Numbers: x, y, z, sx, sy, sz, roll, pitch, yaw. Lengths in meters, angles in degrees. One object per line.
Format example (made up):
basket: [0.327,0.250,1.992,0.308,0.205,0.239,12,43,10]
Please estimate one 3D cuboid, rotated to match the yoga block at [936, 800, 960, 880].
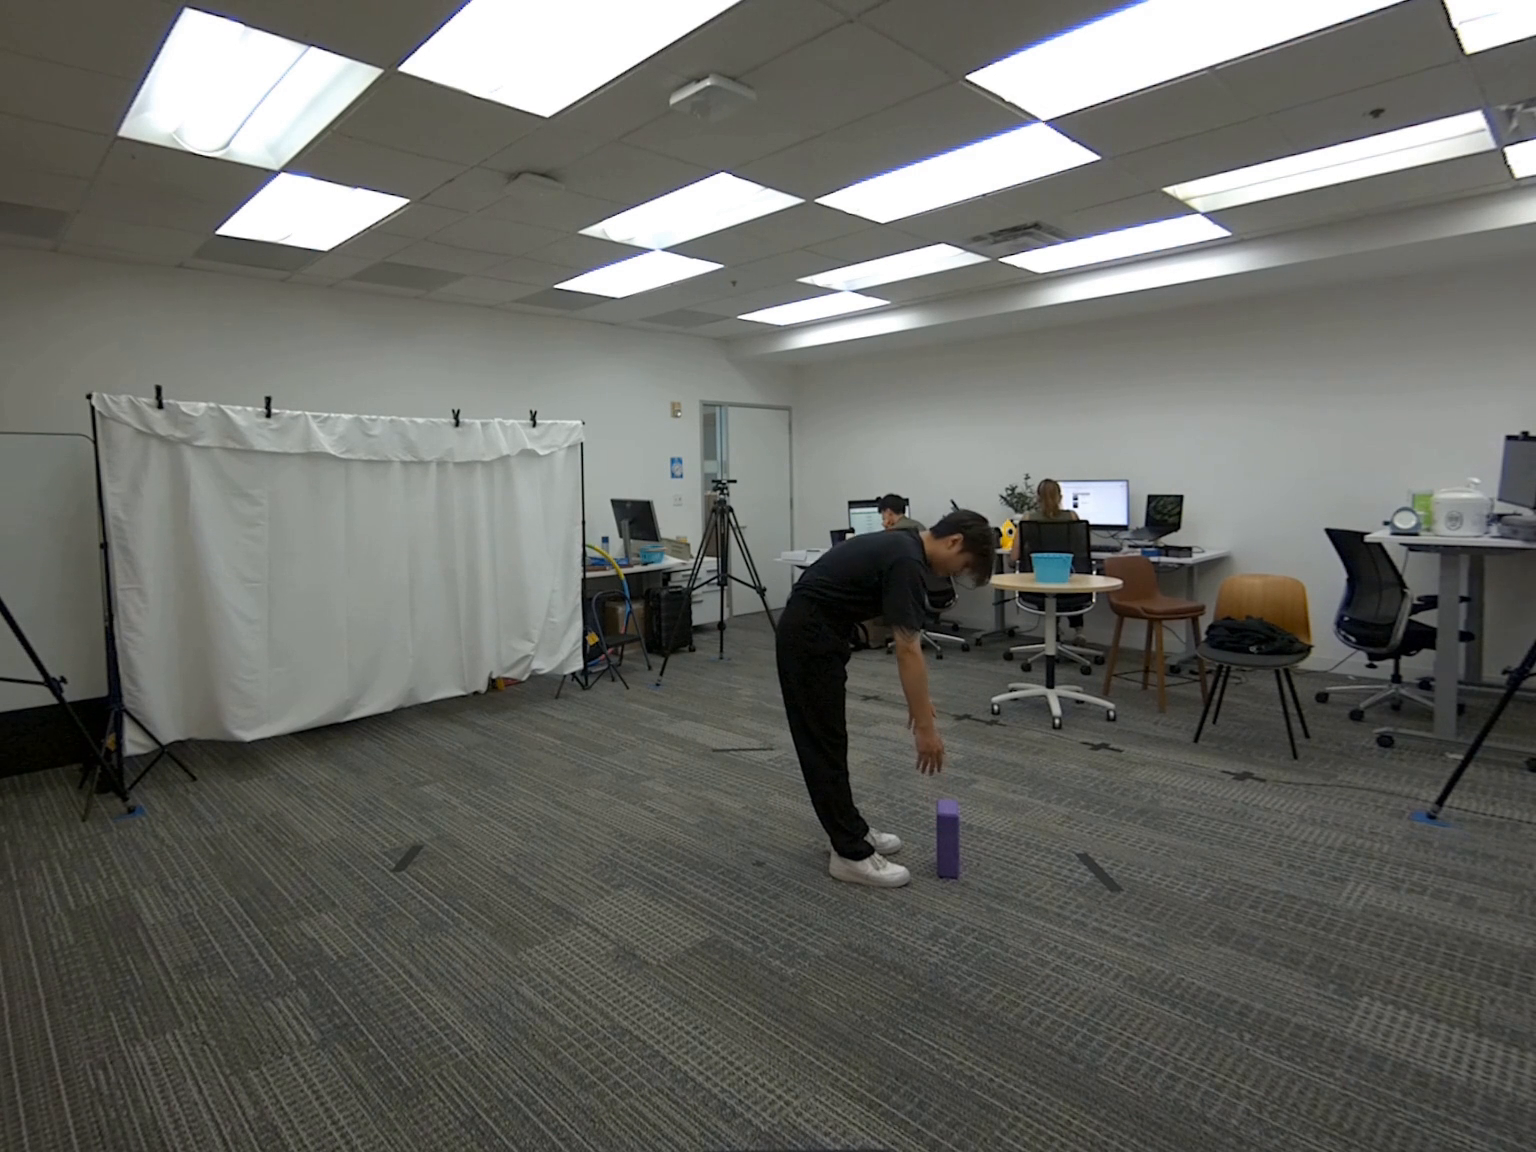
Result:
yoga block: [0.633,0.927,3.026,0.077,0.228,0.148,2,4,10]
